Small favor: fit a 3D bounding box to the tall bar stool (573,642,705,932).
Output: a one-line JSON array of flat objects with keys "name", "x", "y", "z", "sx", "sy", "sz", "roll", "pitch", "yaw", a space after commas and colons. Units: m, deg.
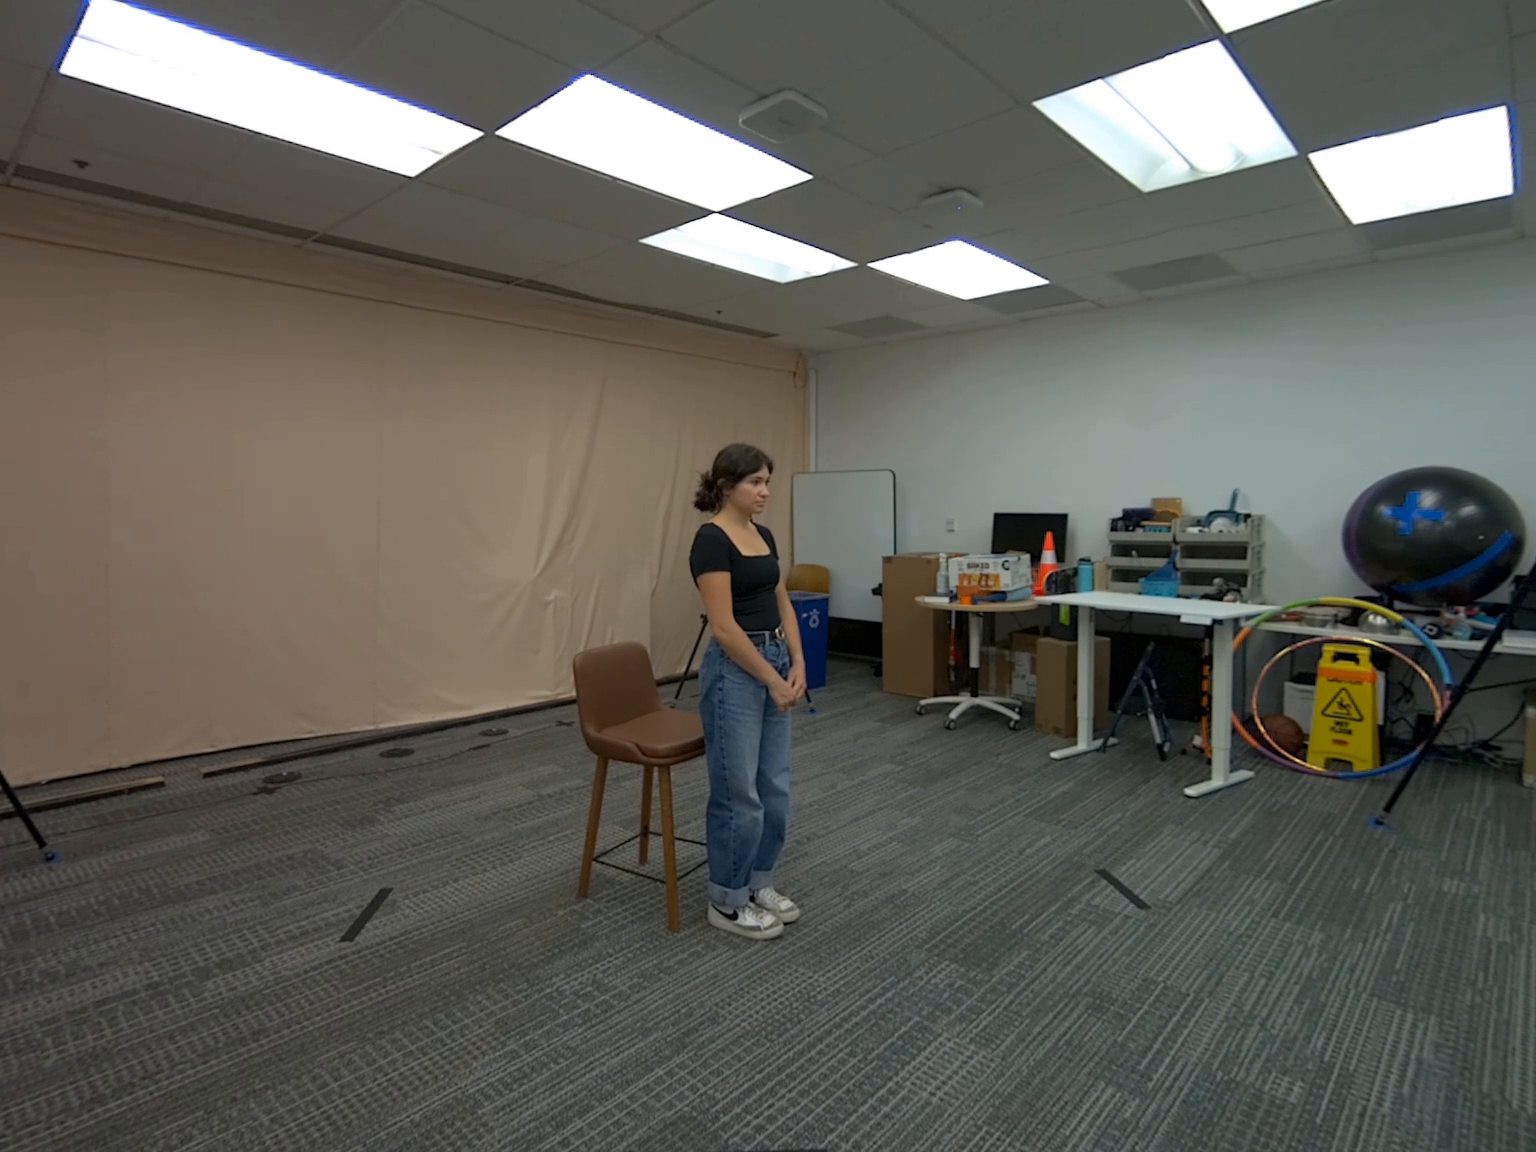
[{"name": "tall bar stool", "x": -0.402, "y": 0.711, "z": 3.025, "sx": 0.481, "sy": 0.889, "sz": 0.444, "roll": -1, "pitch": 2, "yaw": 33}]
